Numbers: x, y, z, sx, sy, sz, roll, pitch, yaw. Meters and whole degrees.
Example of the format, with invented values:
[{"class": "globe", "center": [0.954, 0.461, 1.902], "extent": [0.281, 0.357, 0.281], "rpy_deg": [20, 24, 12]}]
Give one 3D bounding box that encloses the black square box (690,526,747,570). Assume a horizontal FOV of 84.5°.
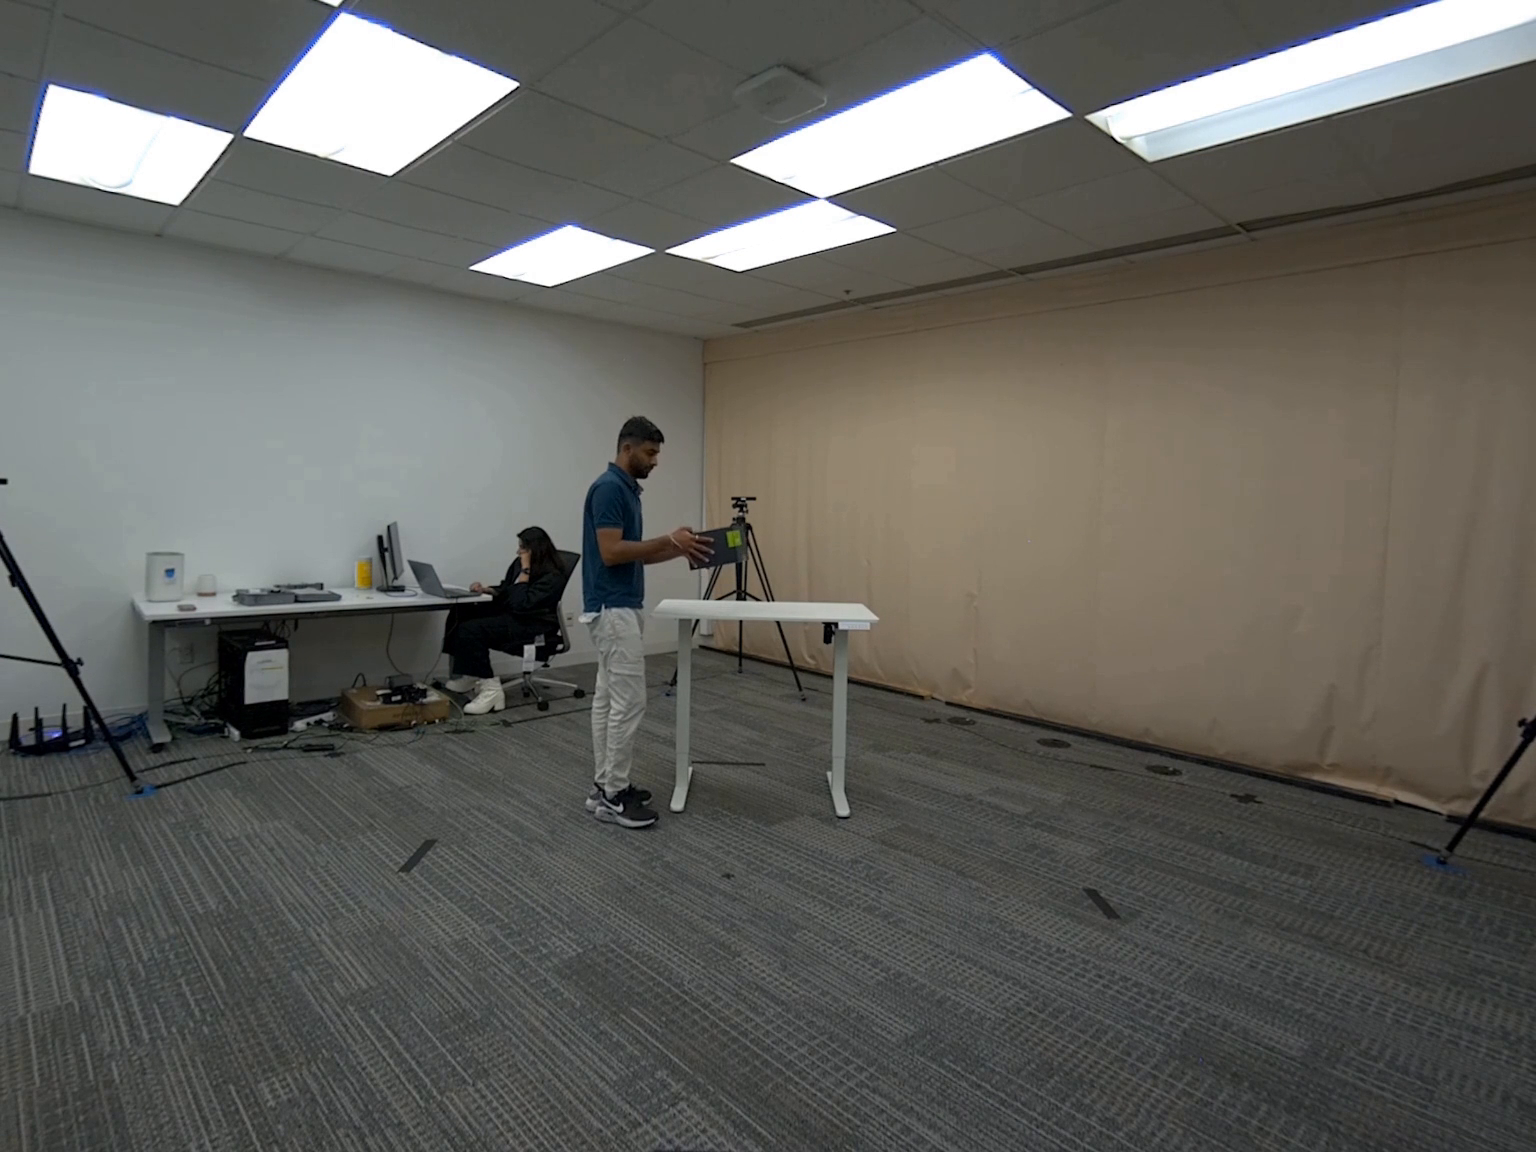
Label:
[{"class": "black square box", "center": [-0.215, -0.132, 3.662], "extent": [0.219, 0.156, 0.226], "rpy_deg": [-10, 2, 16]}]
